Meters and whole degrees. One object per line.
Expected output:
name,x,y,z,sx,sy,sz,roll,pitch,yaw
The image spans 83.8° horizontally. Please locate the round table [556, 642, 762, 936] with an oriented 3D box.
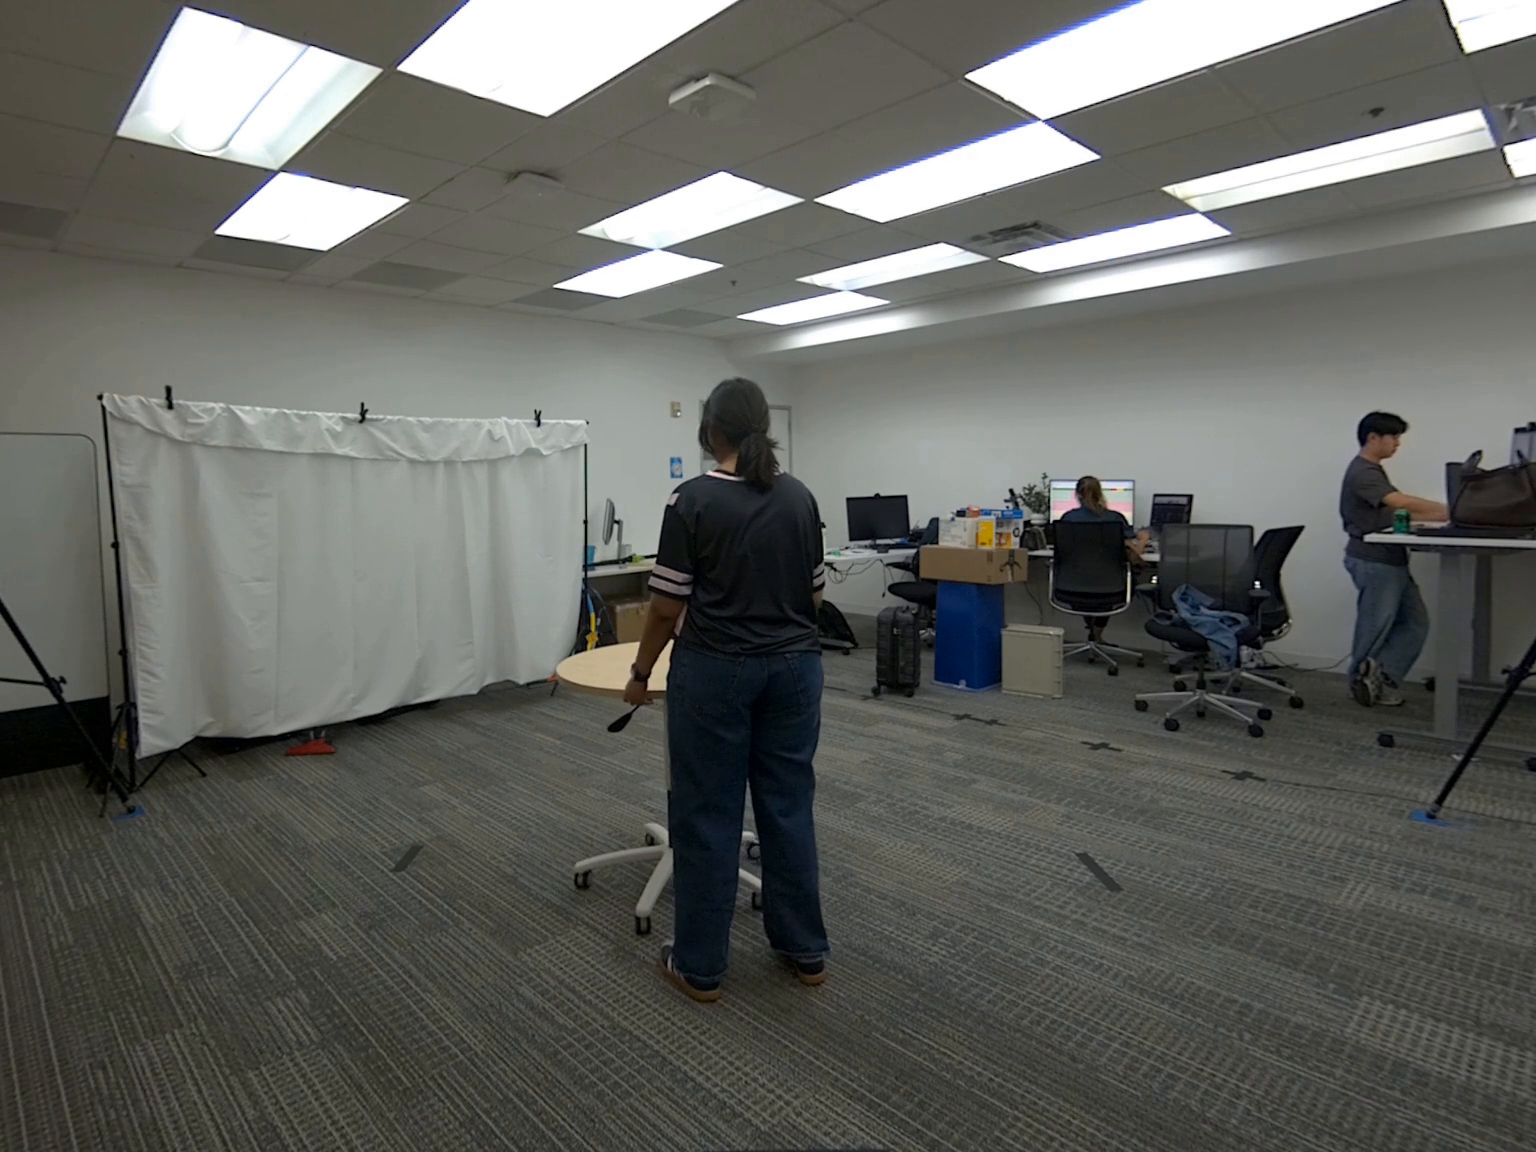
round table,-0.314,0.682,2.935,0.763,0.790,0.768,-2,5,-2
